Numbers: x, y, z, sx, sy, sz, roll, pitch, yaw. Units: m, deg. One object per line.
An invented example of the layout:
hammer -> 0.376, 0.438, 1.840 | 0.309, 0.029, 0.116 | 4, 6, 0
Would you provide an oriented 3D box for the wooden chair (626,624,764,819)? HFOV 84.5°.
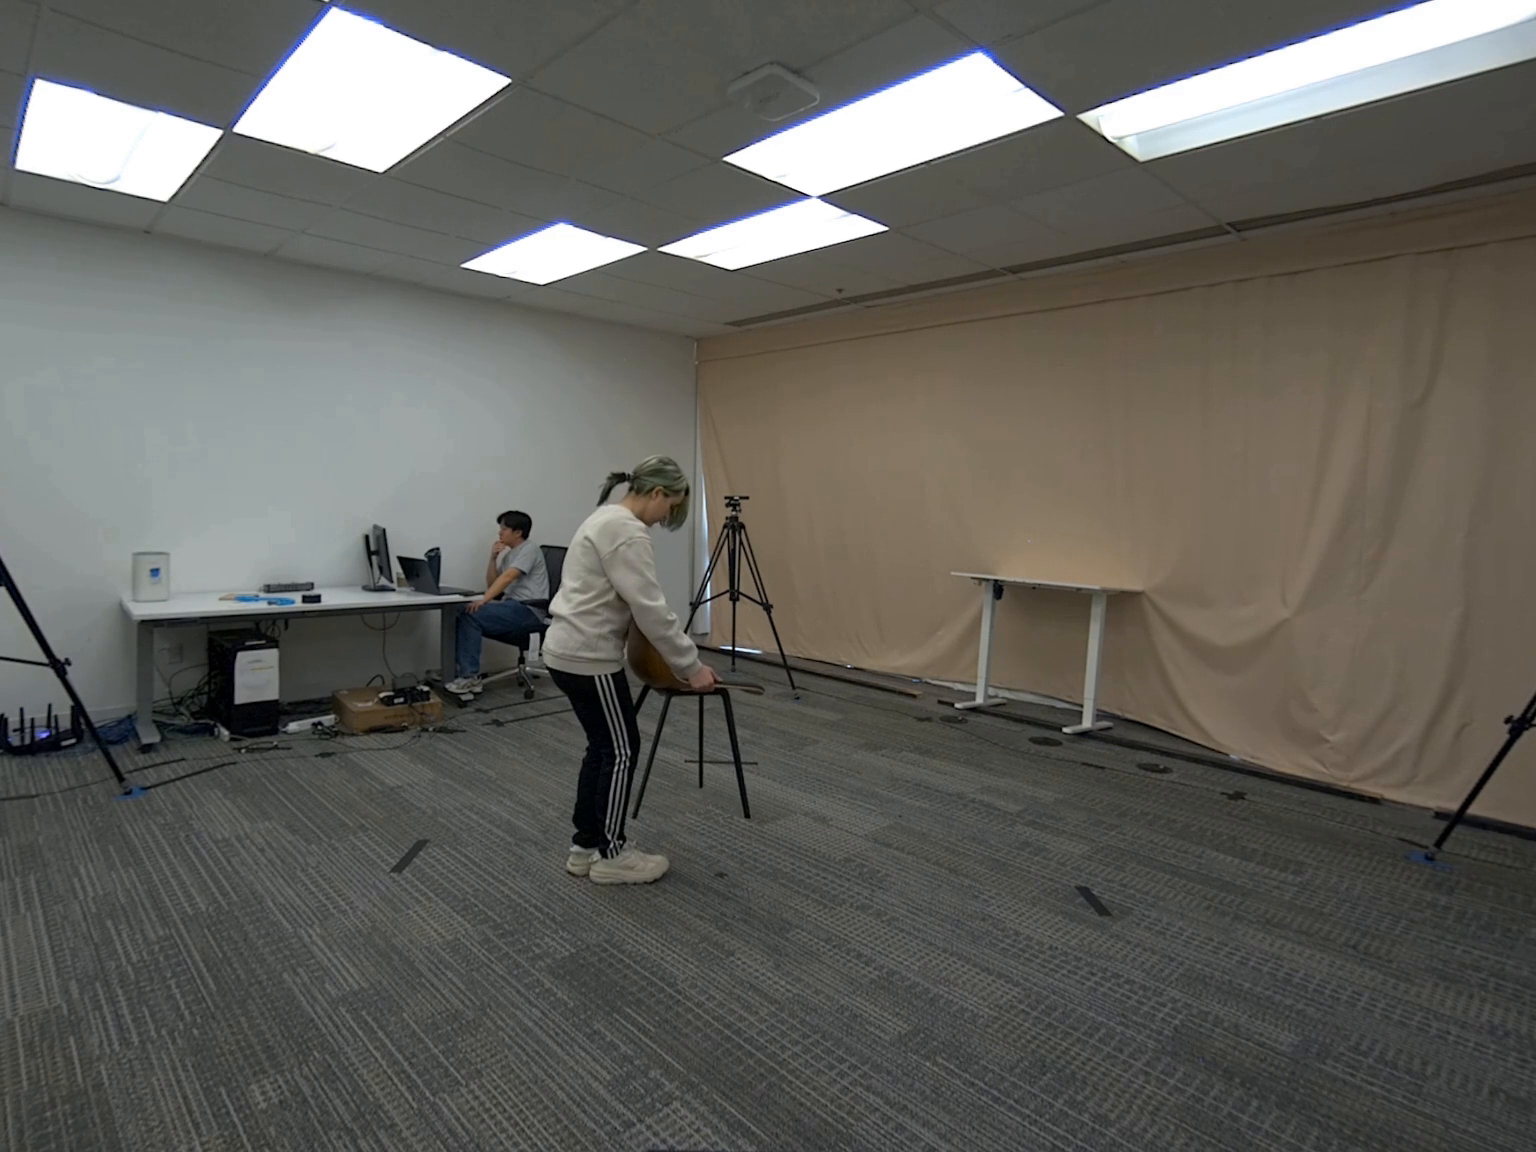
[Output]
wooden chair -> -0.313, 0.437, 3.201 | 0.513, 0.878, 0.487 | 4, -1, -27
